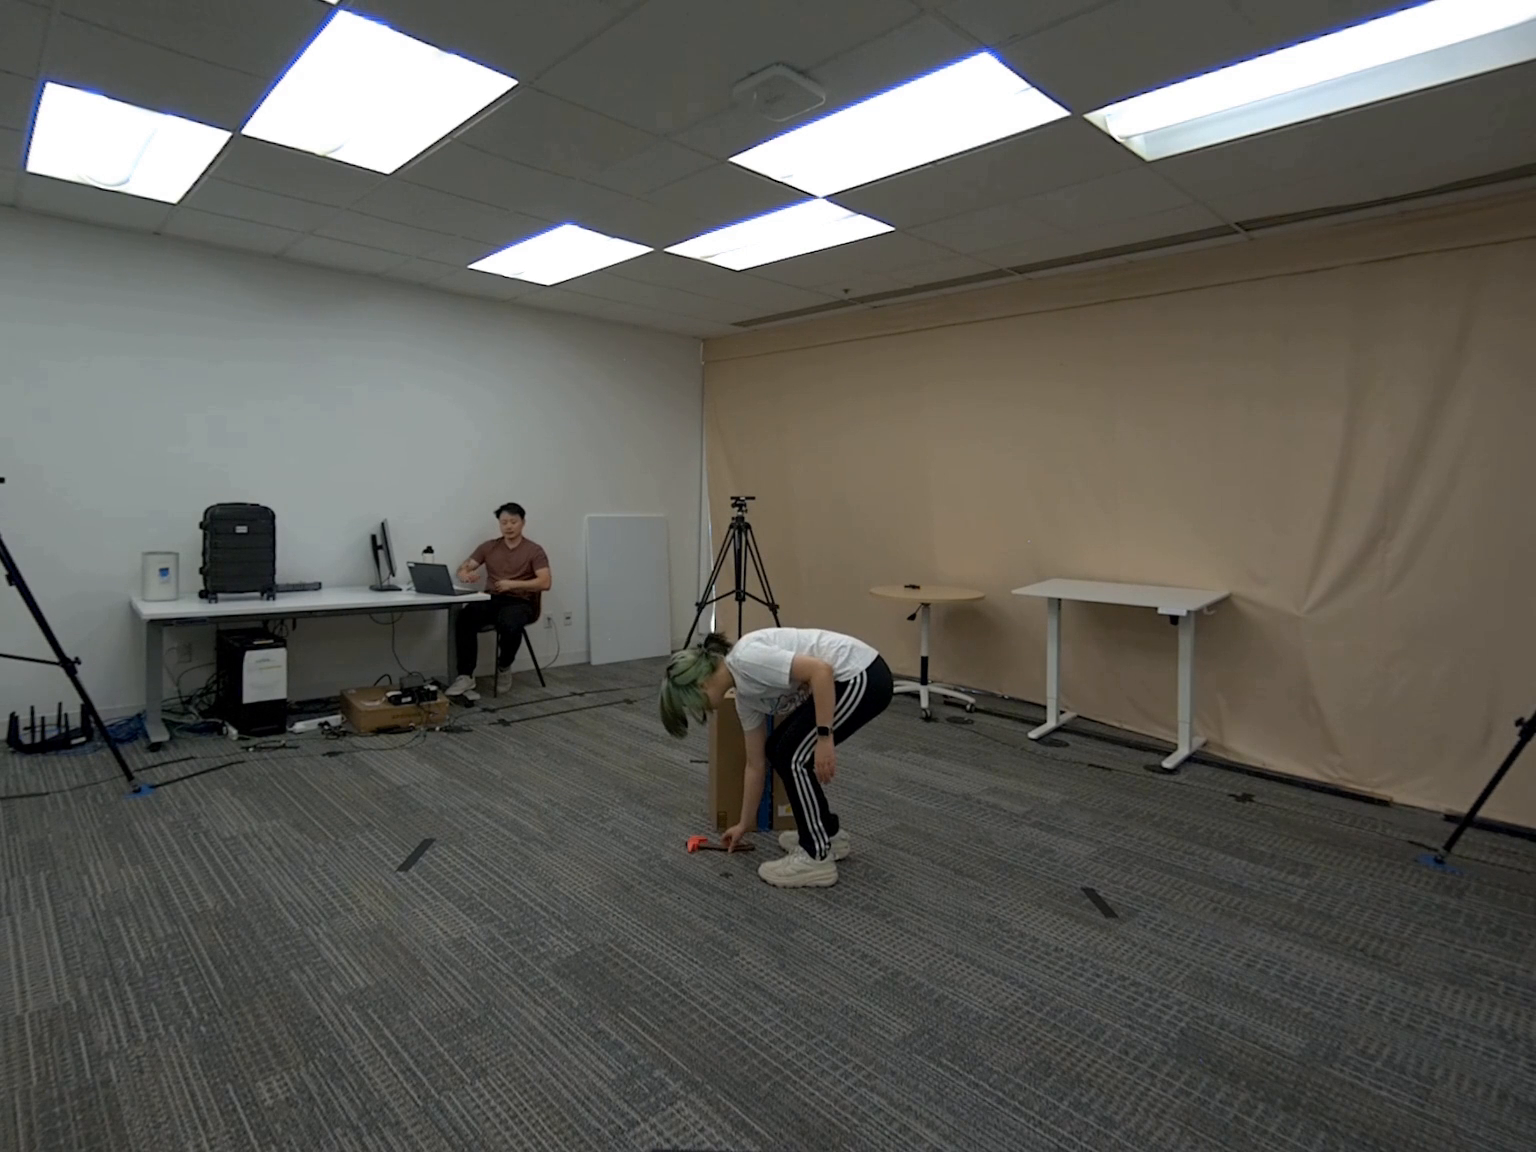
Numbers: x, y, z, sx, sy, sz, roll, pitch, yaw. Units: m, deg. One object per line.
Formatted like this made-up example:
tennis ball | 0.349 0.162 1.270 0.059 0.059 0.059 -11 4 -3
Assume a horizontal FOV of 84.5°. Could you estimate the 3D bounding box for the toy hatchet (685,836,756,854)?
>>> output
toy hatchet | -0.201 1.061 3.362 0.268 0.029 0.132 2 4 -11
